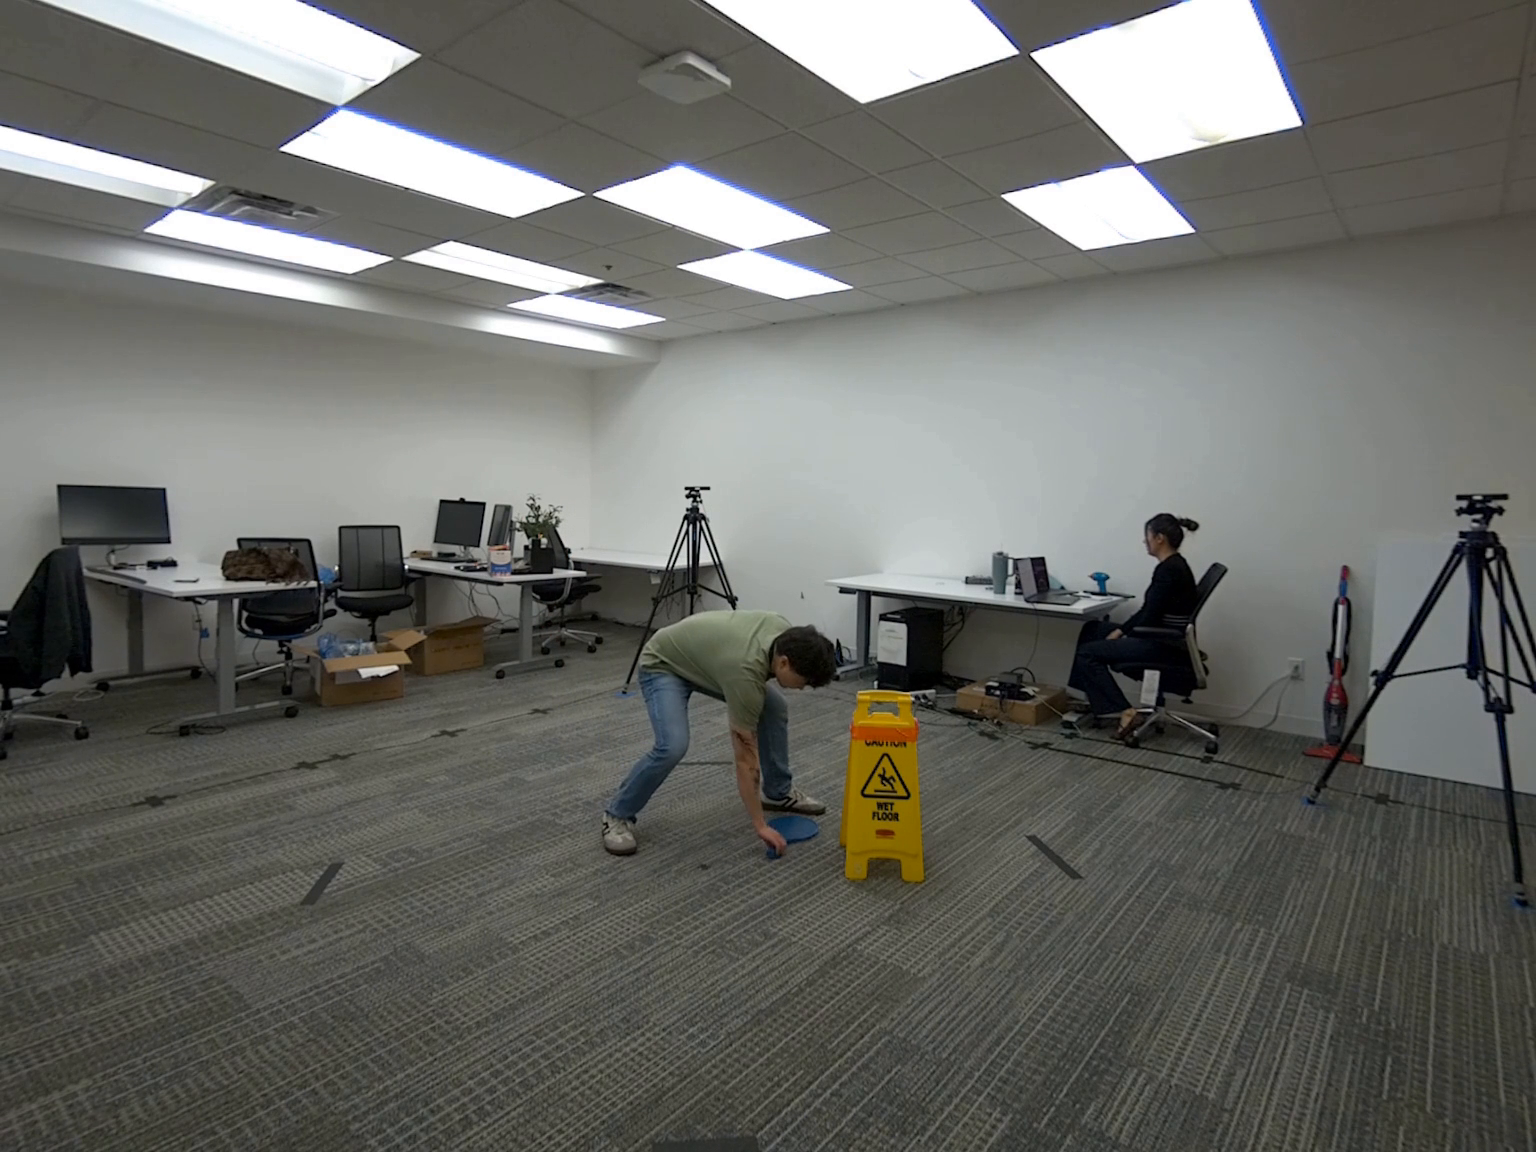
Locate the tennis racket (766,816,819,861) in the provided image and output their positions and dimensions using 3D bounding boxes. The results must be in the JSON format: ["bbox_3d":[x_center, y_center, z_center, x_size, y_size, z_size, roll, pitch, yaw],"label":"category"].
[{"bbox_3d":[0.064,1.032,3.375,0.218,0.031,0.425,4,5,19],"label":"tennis racket"}]
